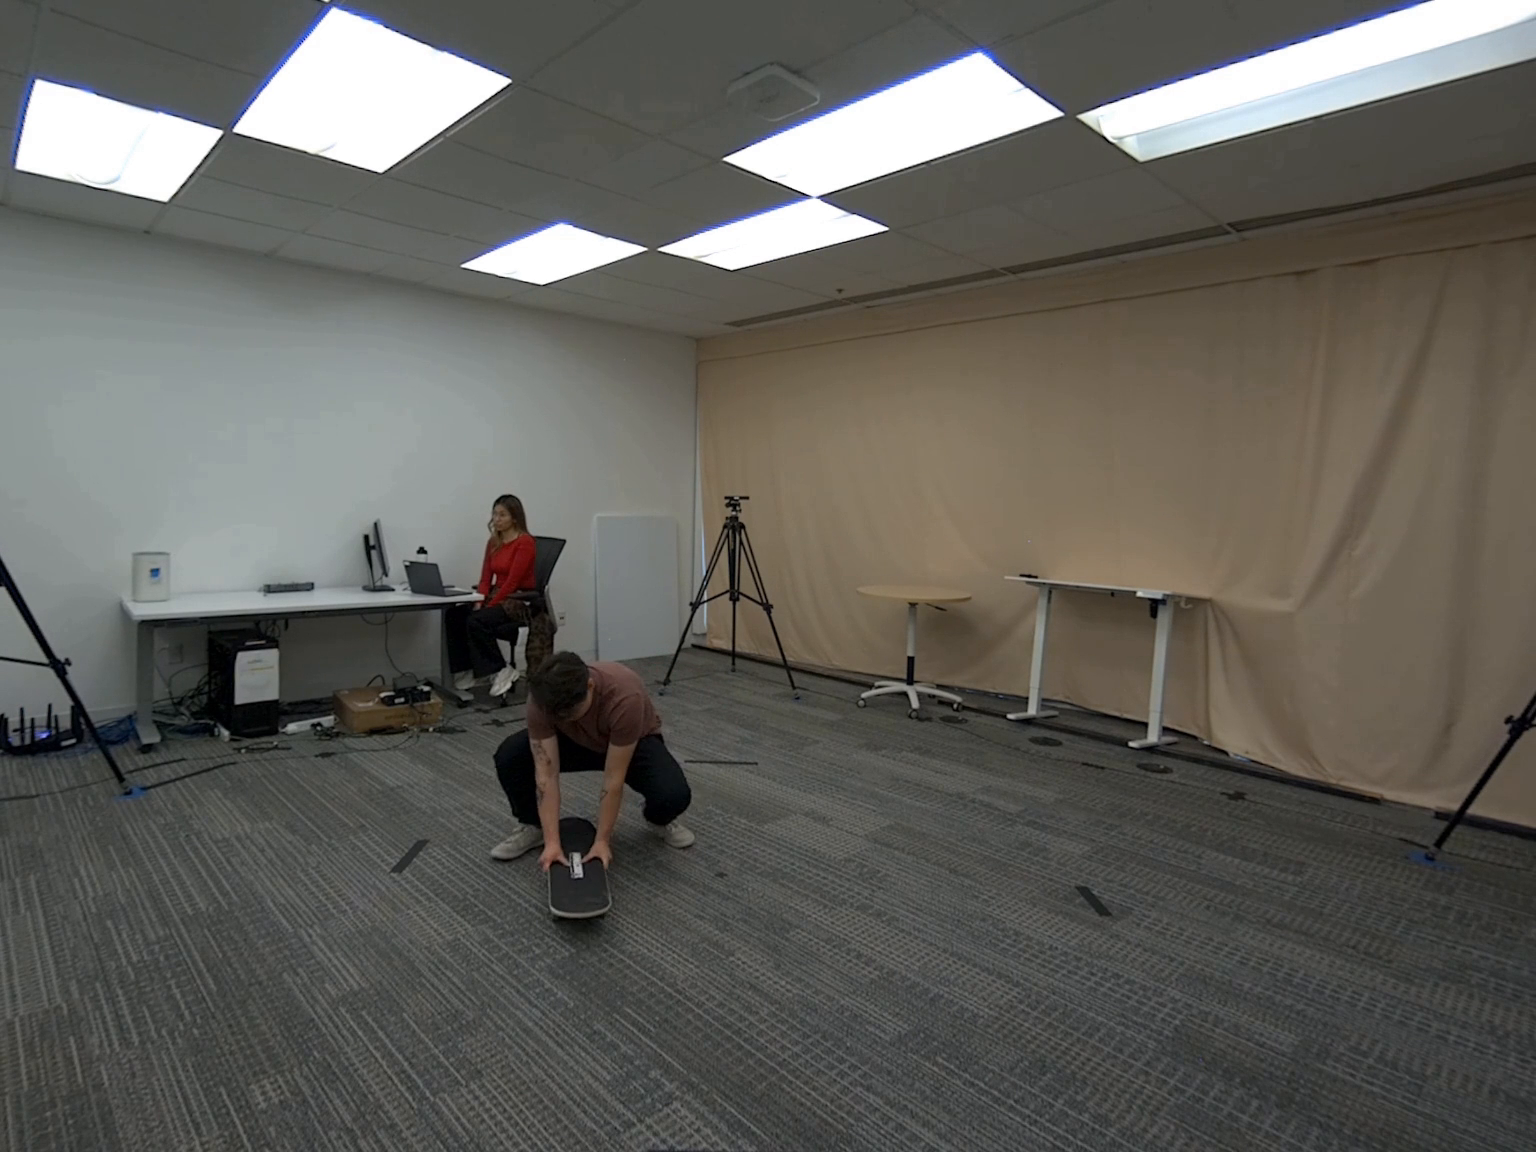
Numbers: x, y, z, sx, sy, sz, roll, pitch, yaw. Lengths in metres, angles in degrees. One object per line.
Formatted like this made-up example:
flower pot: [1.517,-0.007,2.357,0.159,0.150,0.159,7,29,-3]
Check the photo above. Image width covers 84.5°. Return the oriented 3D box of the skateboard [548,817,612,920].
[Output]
skateboard: [-0.675,1.050,2.956,0.191,0.110,0.796,1,4,-16]
